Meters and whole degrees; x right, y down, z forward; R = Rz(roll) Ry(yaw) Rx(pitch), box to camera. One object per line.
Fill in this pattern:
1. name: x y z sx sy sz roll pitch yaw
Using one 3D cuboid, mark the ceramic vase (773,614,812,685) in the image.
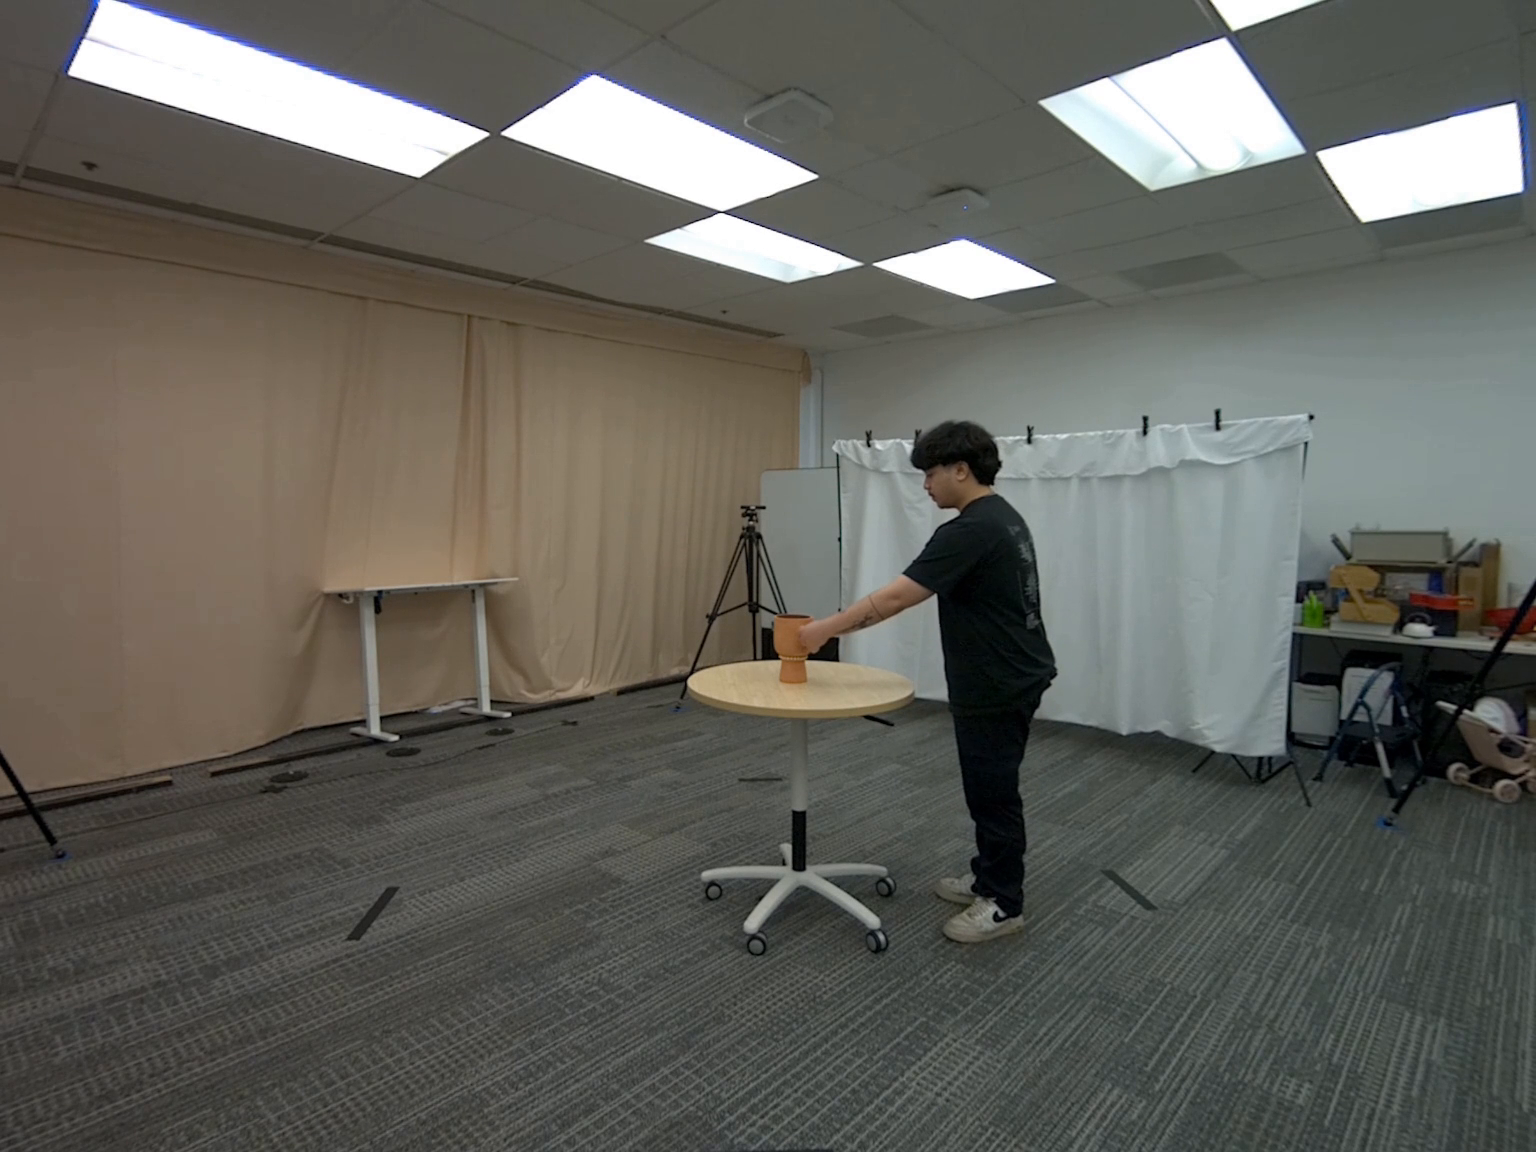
1. ceramic vase: 0.092 0.252 2.884 0.137 0.219 0.156 1 4 14
